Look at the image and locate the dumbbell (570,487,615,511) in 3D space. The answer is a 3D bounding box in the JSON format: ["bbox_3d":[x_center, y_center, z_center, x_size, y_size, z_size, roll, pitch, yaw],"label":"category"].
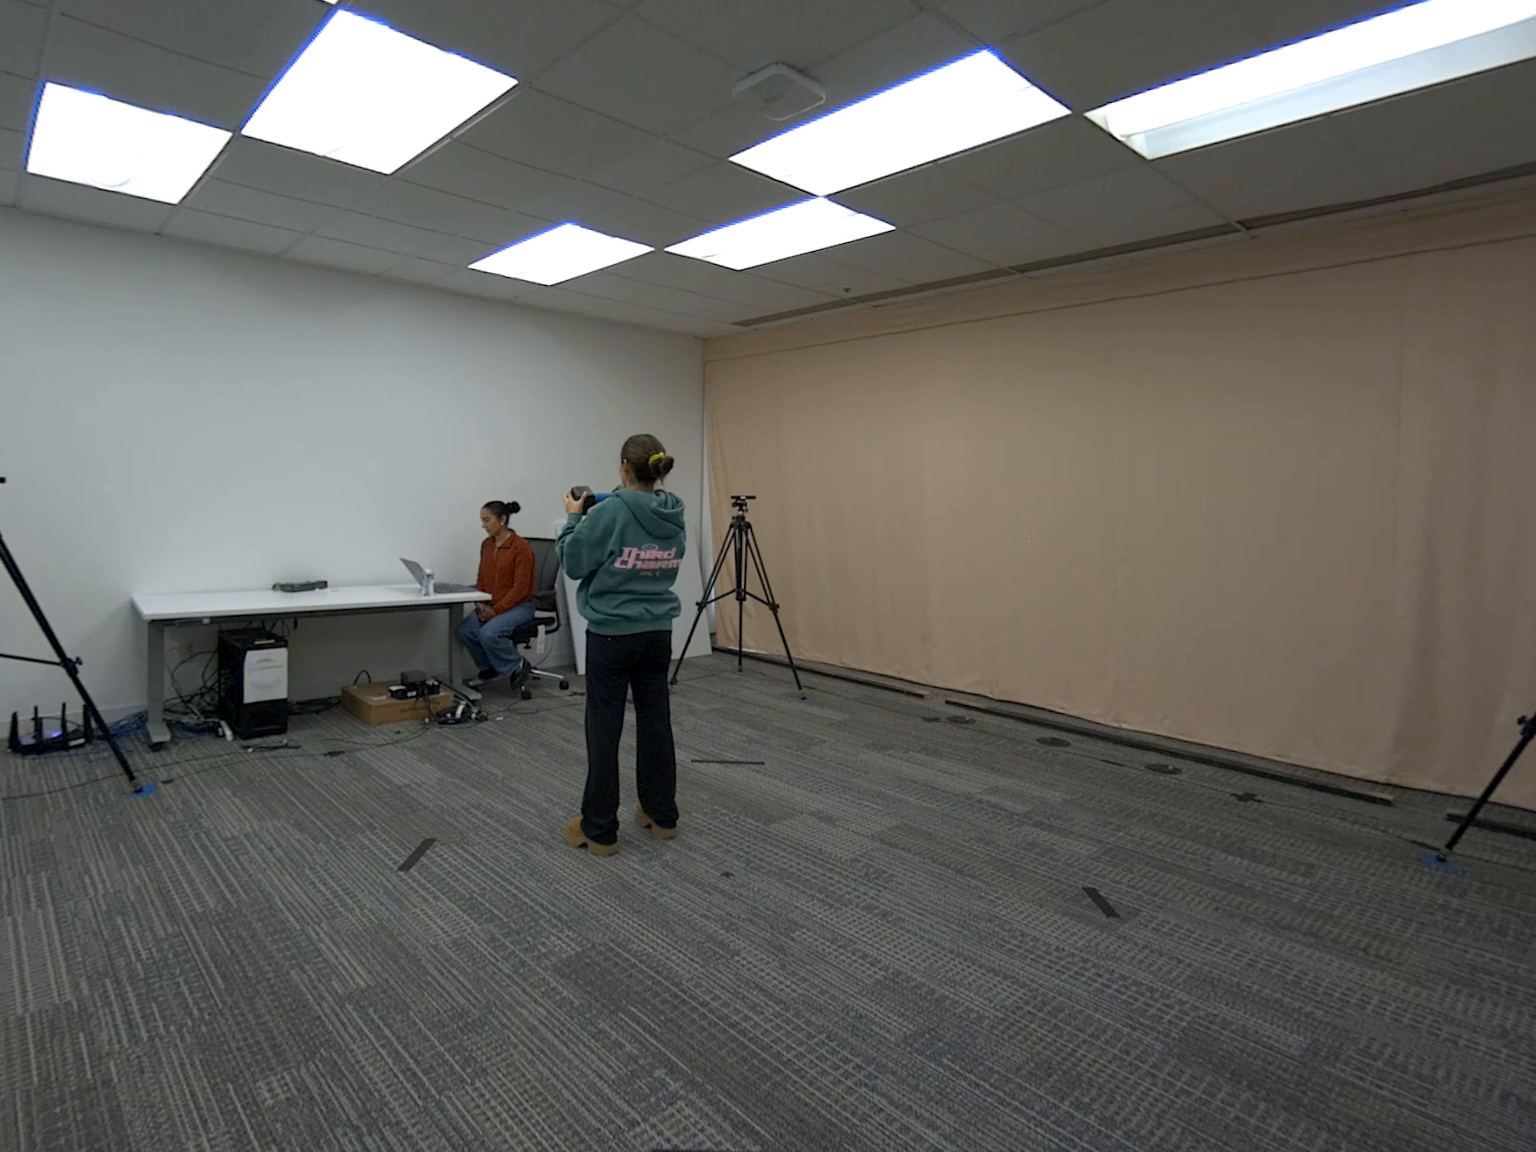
[{"bbox_3d":[-0.685,-0.308,3.495,0.287,0.107,0.127,-8,43,-39],"label":"dumbbell"}]
